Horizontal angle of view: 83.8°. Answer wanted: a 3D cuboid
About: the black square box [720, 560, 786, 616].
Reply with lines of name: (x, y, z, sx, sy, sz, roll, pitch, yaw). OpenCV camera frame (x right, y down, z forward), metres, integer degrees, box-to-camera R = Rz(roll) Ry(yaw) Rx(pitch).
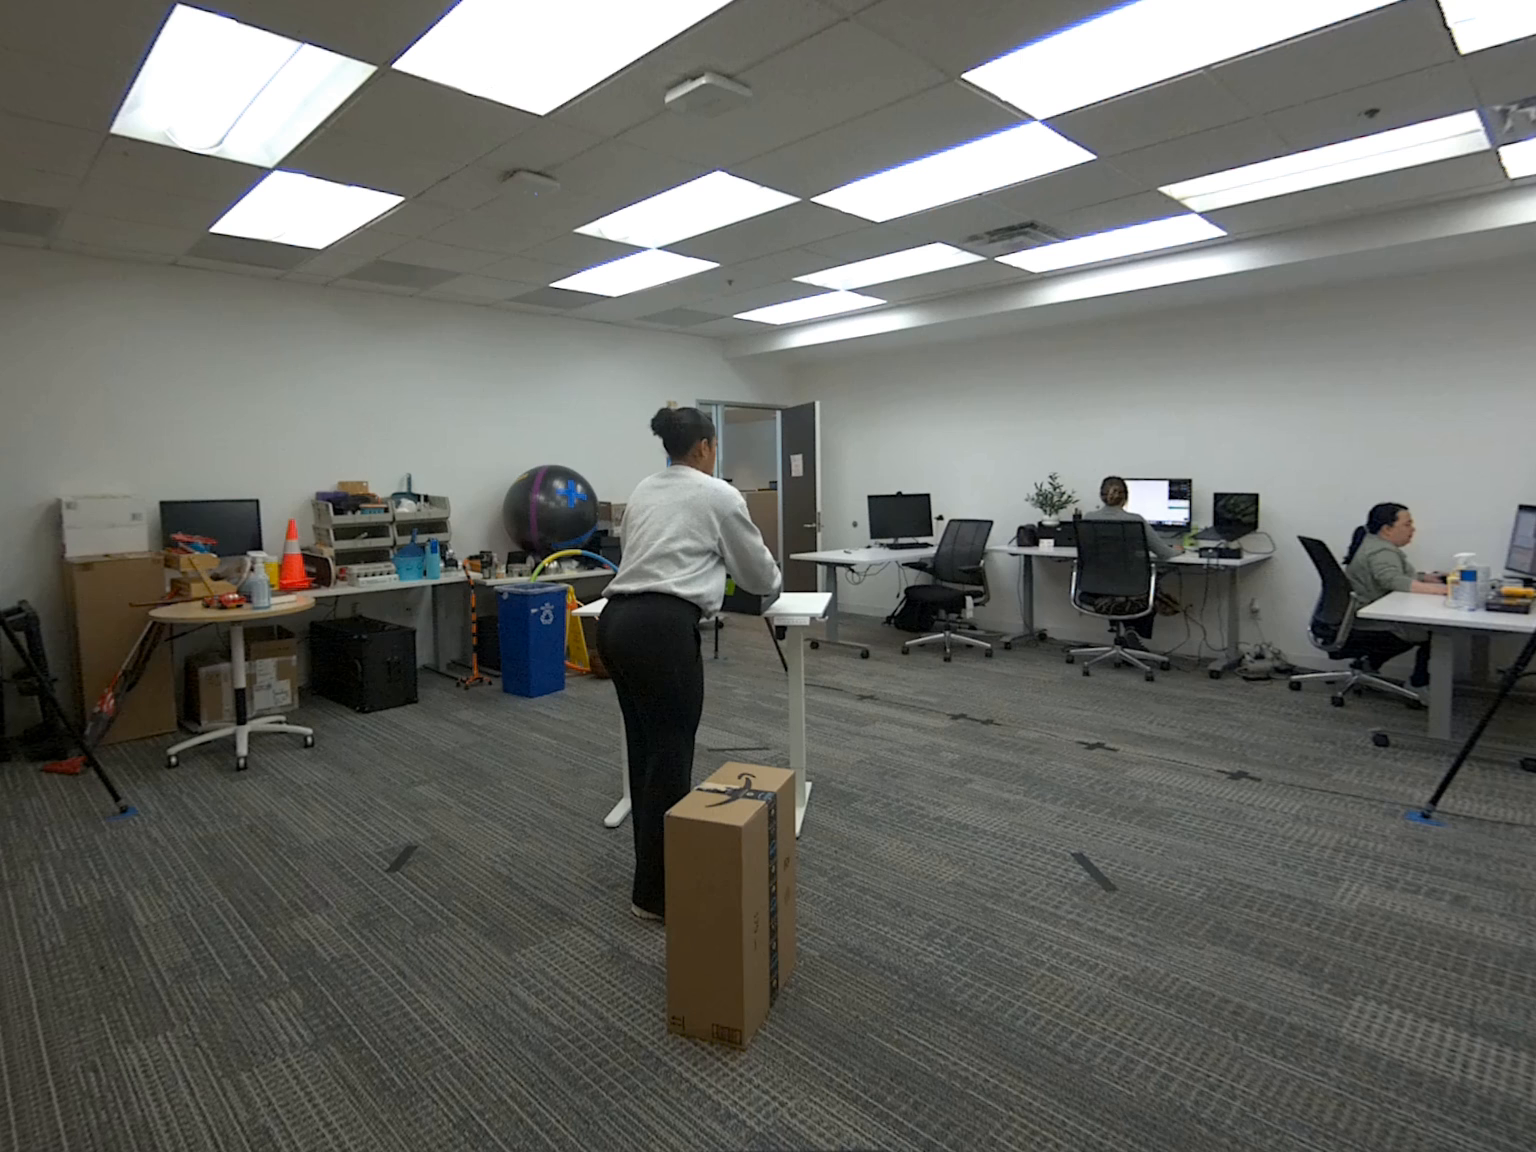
black square box: (-0.078, 0.031, 3.334, 0.233, 0.154, 0.215, 6, 17, 23)
